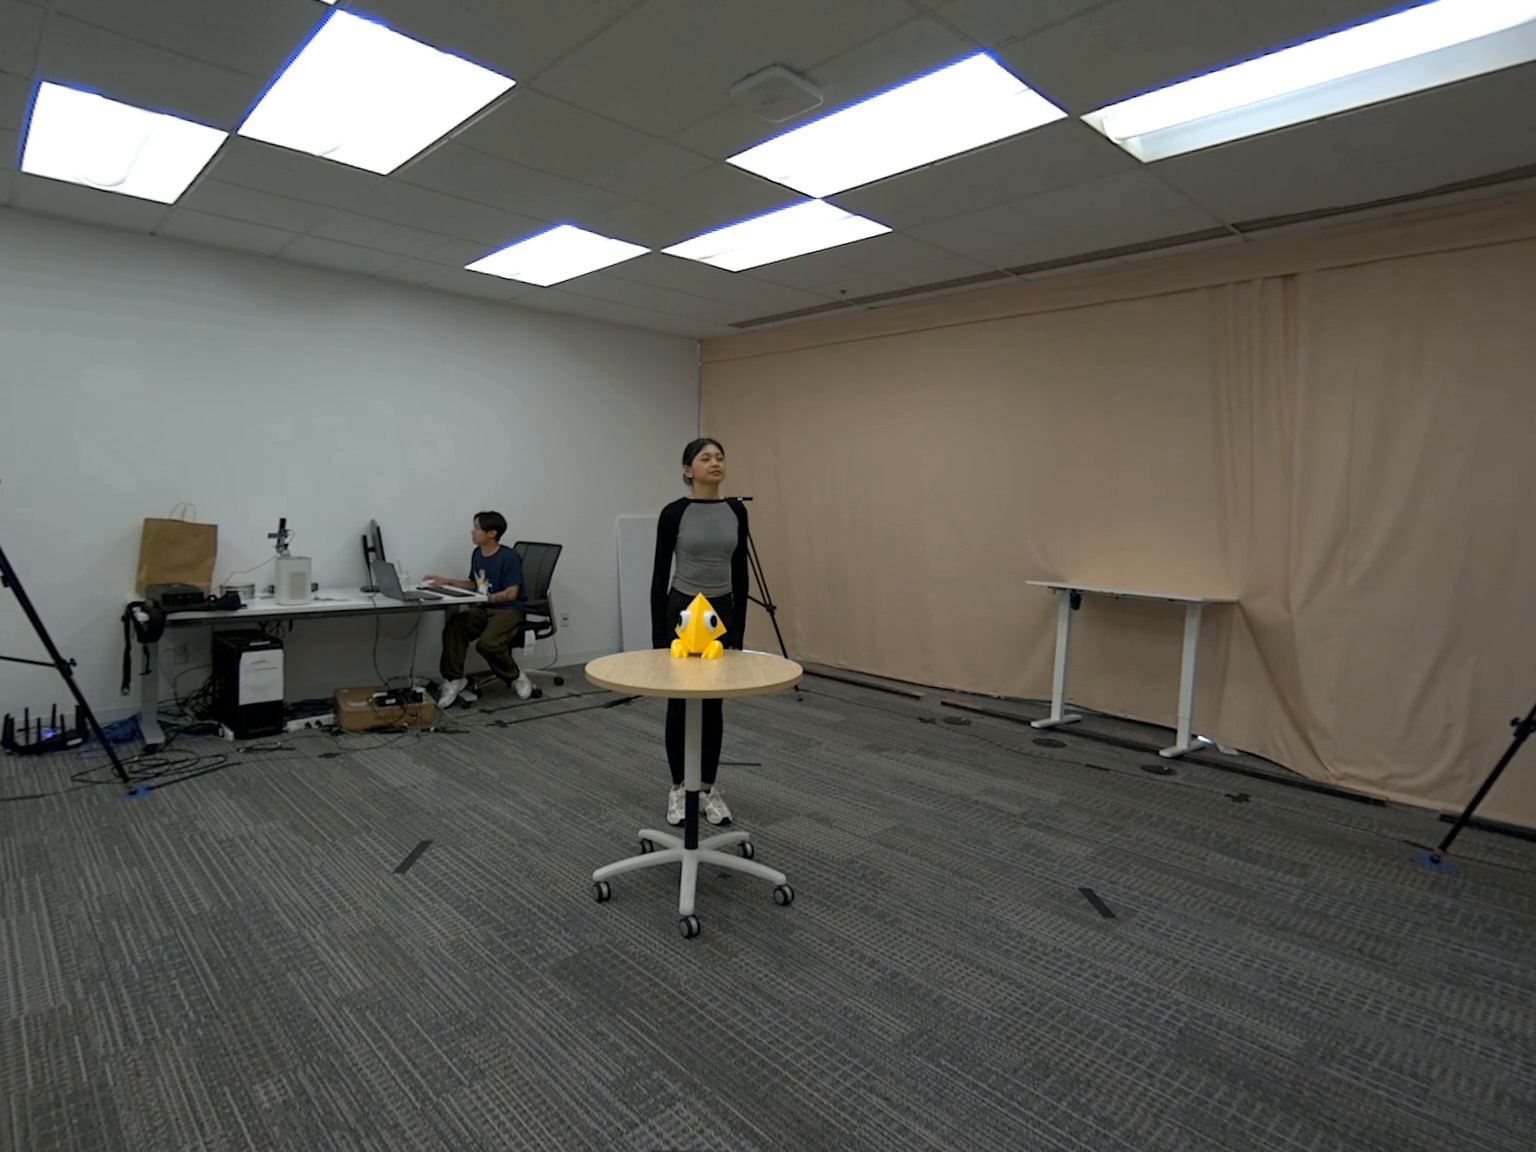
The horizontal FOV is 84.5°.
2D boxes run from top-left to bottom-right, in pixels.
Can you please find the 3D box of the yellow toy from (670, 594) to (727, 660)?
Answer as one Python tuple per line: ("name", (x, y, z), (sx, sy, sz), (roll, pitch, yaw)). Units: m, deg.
("yellow toy", (-0.280, 0.186, 3.227), (0.206, 0.230, 0.192), (1, 3, 6))
